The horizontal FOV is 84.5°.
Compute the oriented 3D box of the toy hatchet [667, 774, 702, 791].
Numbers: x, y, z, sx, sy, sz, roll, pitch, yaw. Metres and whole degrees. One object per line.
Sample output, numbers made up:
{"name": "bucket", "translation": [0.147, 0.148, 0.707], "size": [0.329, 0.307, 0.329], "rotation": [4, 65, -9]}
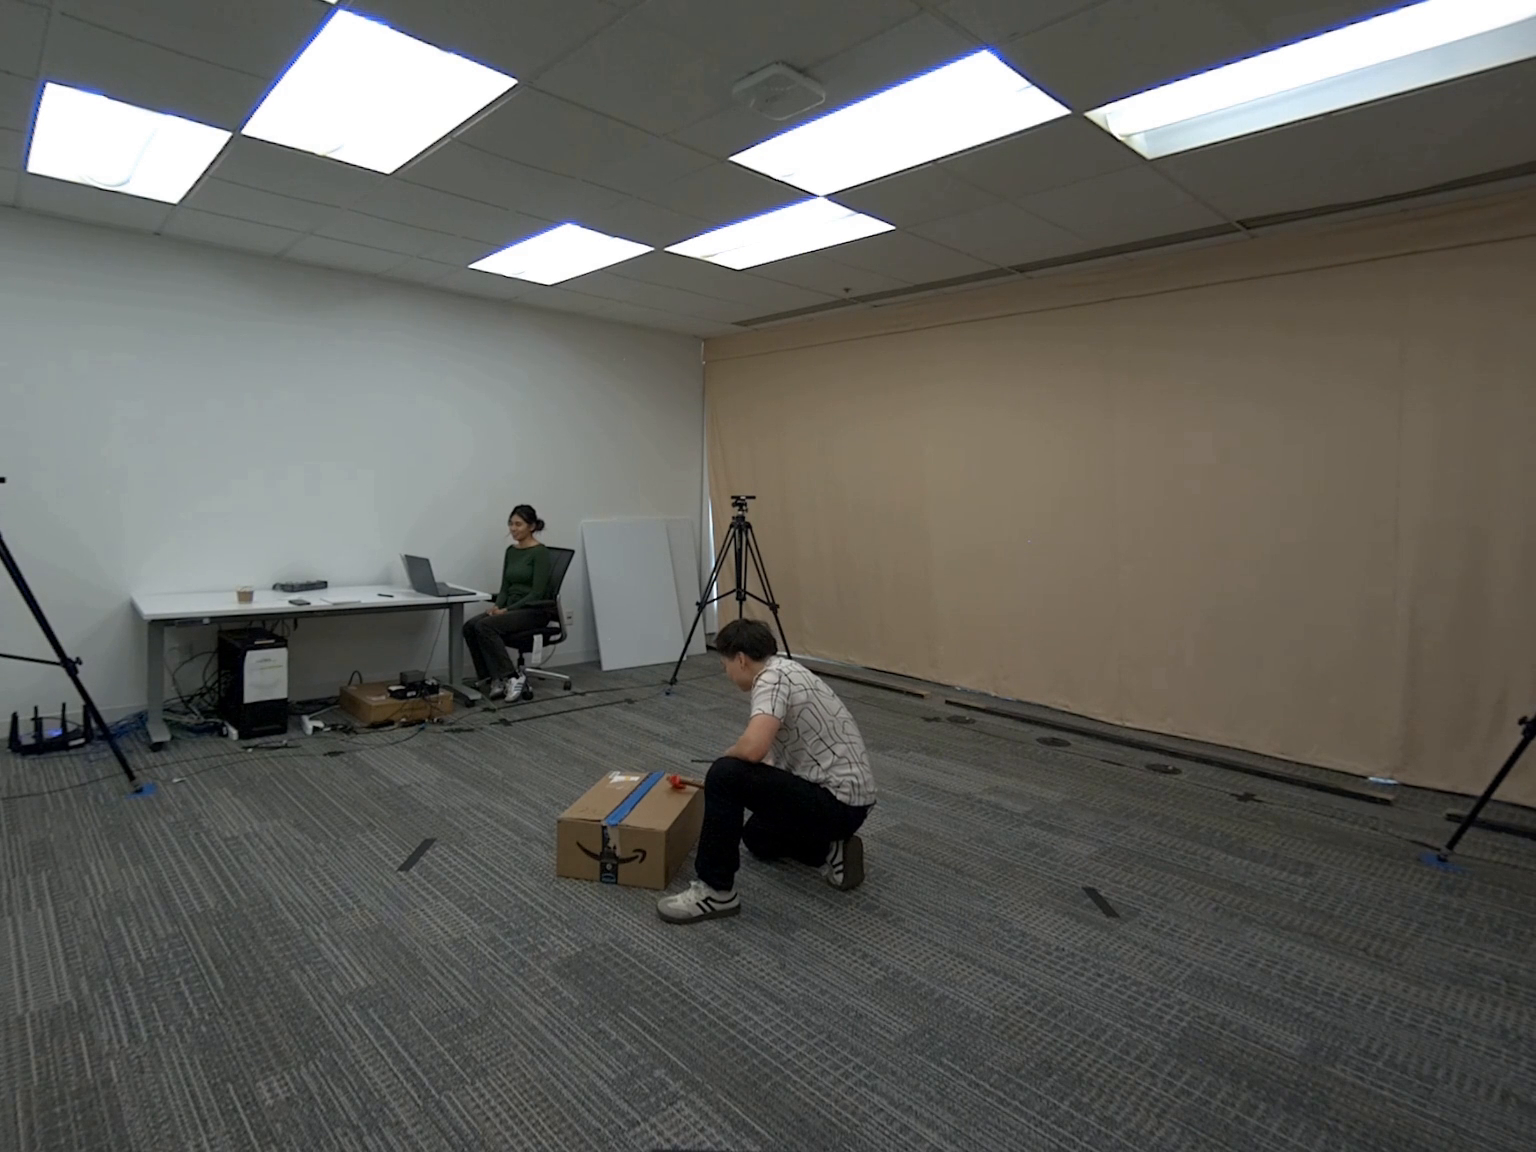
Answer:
{"name": "toy hatchet", "translation": [-0.283, 0.845, 3.373], "size": [0.267, 0.030, 0.130], "rotation": [20, -34, -11]}
